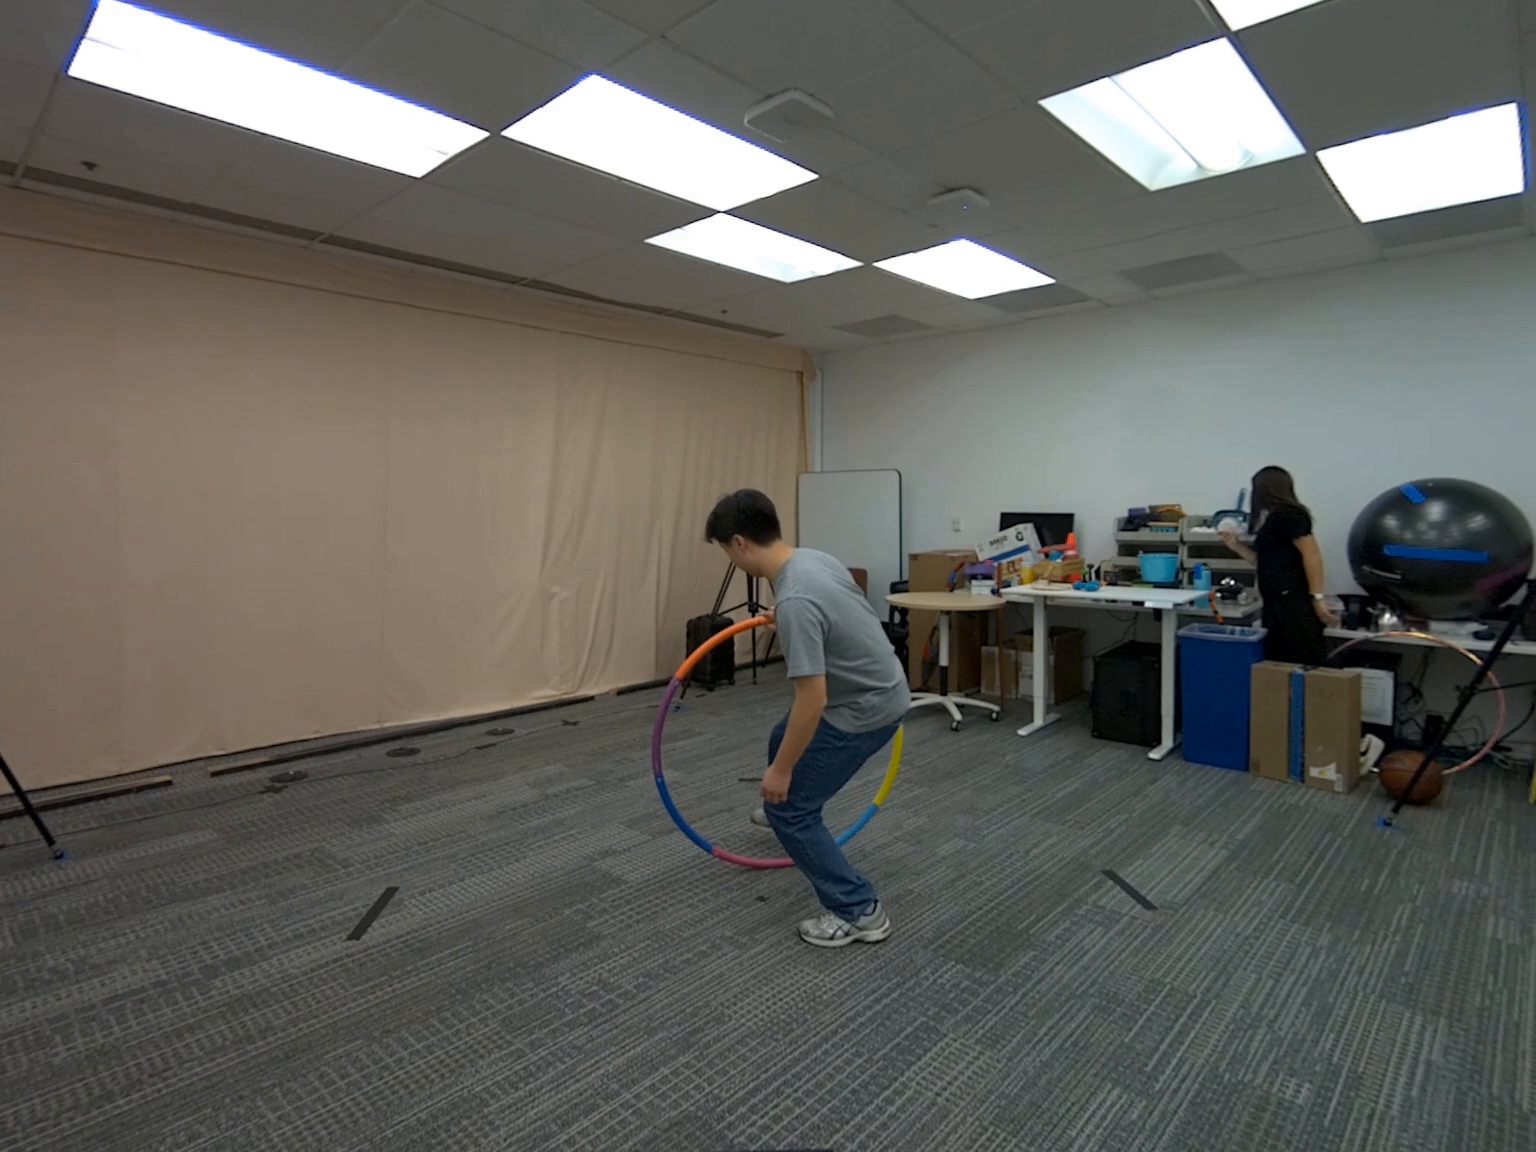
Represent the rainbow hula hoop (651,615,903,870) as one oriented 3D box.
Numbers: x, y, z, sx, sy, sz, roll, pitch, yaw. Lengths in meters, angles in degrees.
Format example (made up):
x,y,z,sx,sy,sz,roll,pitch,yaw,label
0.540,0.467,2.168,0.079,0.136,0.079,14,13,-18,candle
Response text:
x,y,z,sx,sy,sz,roll,pitch,yaw,label
0.048,0.629,3.208,0.966,0.975,0.036,-1,5,-12,rainbow hula hoop
